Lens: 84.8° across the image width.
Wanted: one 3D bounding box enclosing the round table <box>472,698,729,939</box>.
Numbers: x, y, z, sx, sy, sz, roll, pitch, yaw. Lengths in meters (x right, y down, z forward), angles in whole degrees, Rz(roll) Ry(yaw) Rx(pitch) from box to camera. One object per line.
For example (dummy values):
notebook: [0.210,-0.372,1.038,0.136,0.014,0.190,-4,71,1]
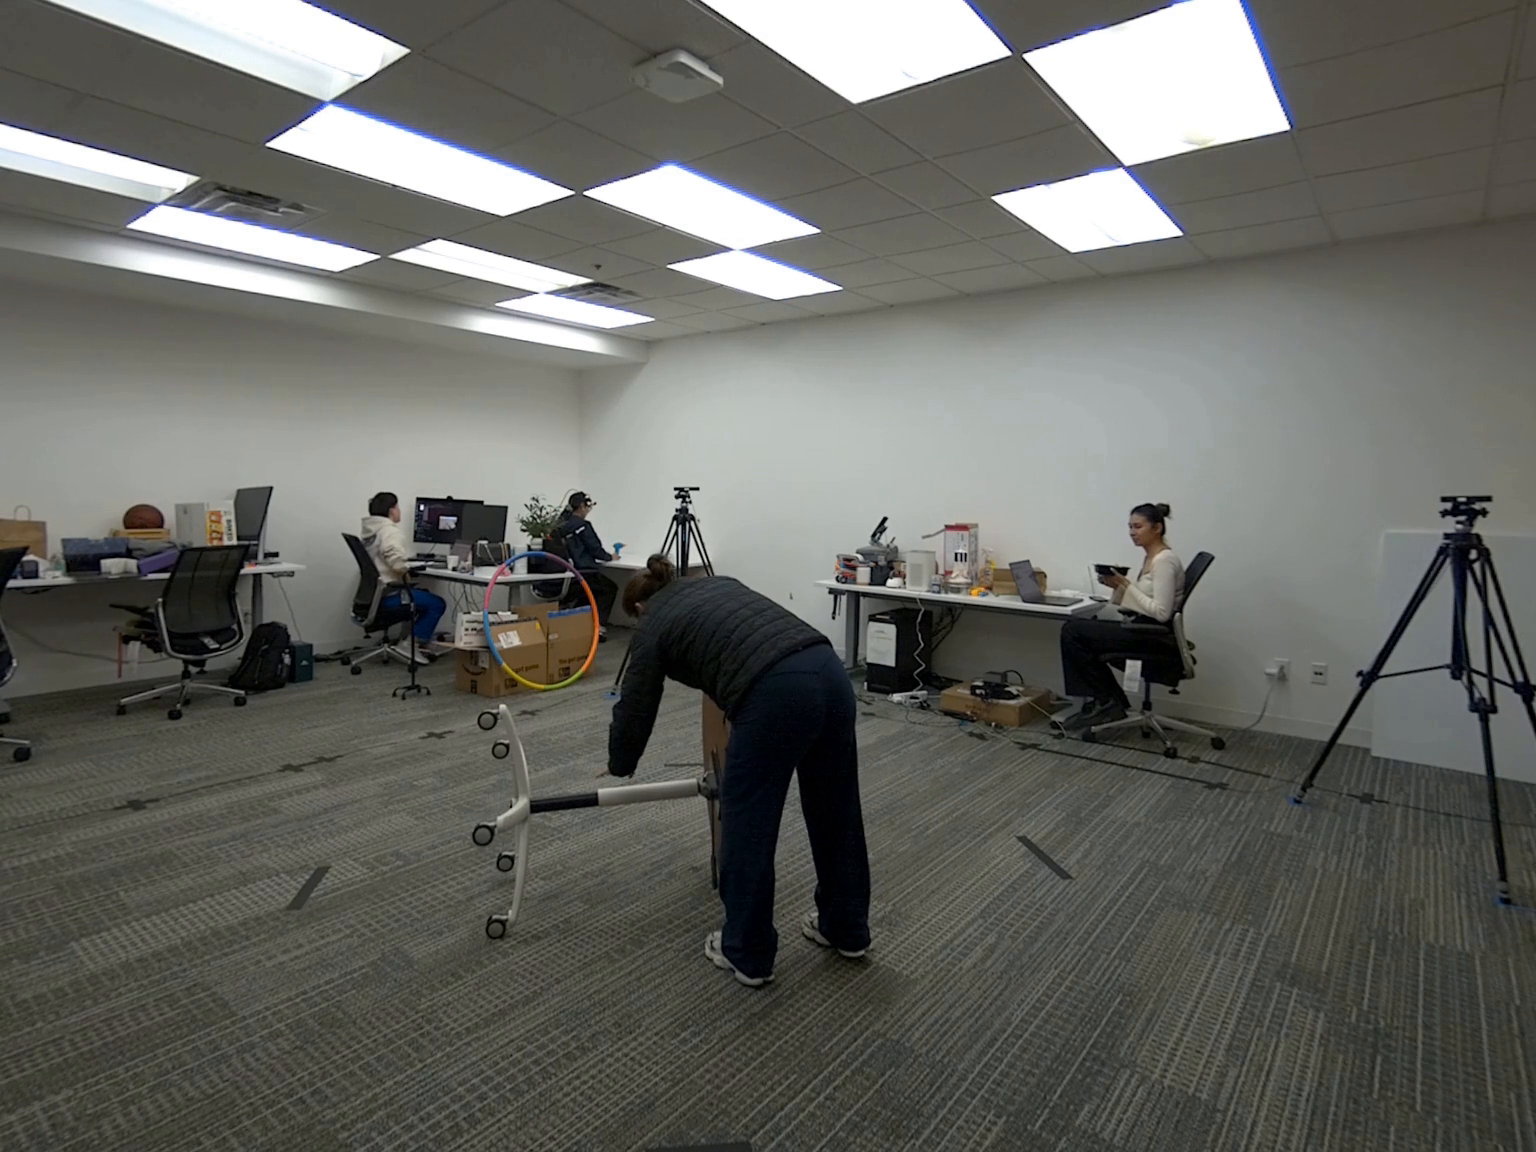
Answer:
round table: [-0.520,0.740,2.853,0.781,0.782,0.795,-4,5,-8]
